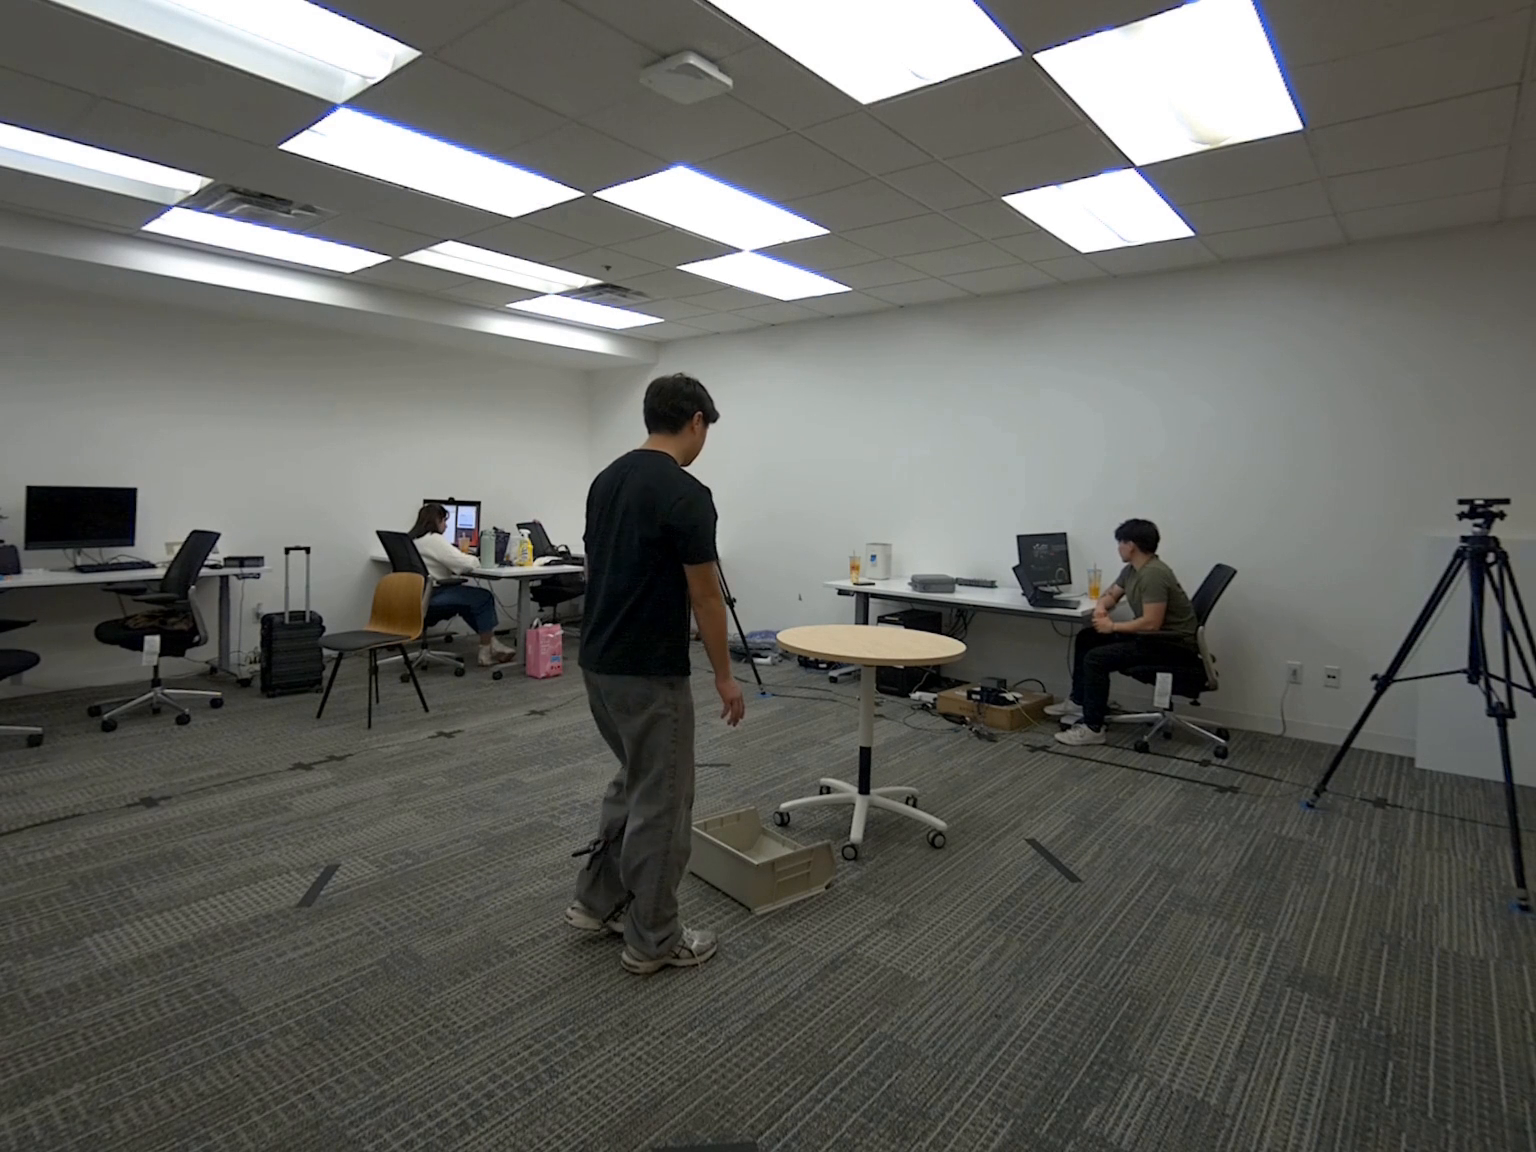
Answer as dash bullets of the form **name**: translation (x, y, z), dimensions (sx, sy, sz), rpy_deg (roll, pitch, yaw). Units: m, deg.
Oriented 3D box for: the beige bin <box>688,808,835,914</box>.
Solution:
- **beige bin**: translation (-0.044, 0.990, 3.034), dimensions (0.366, 0.188, 0.437), rpy_deg (-4, 8, -40)
